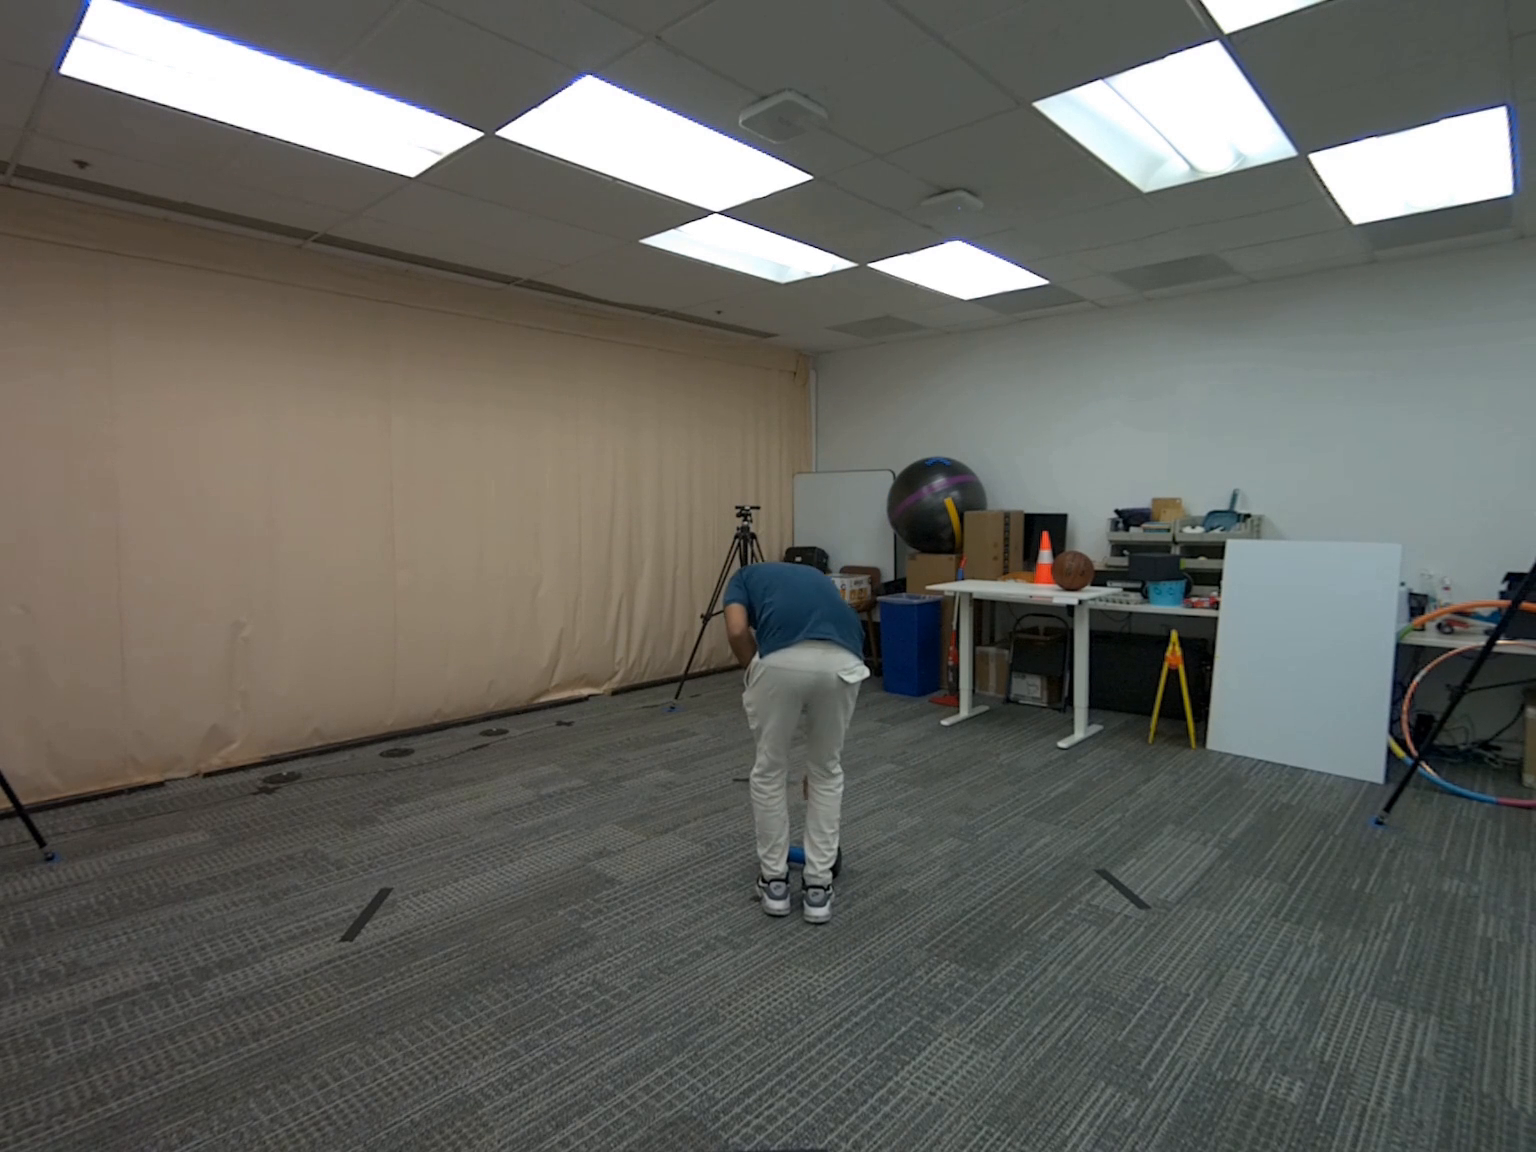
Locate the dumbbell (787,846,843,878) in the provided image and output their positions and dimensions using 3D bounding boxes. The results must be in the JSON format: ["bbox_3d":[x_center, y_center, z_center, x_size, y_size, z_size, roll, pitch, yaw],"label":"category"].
[{"bbox_3d":[0.134,1.069,3.214,0.300,0.124,0.105,1,-27,21],"label":"dumbbell"}]
